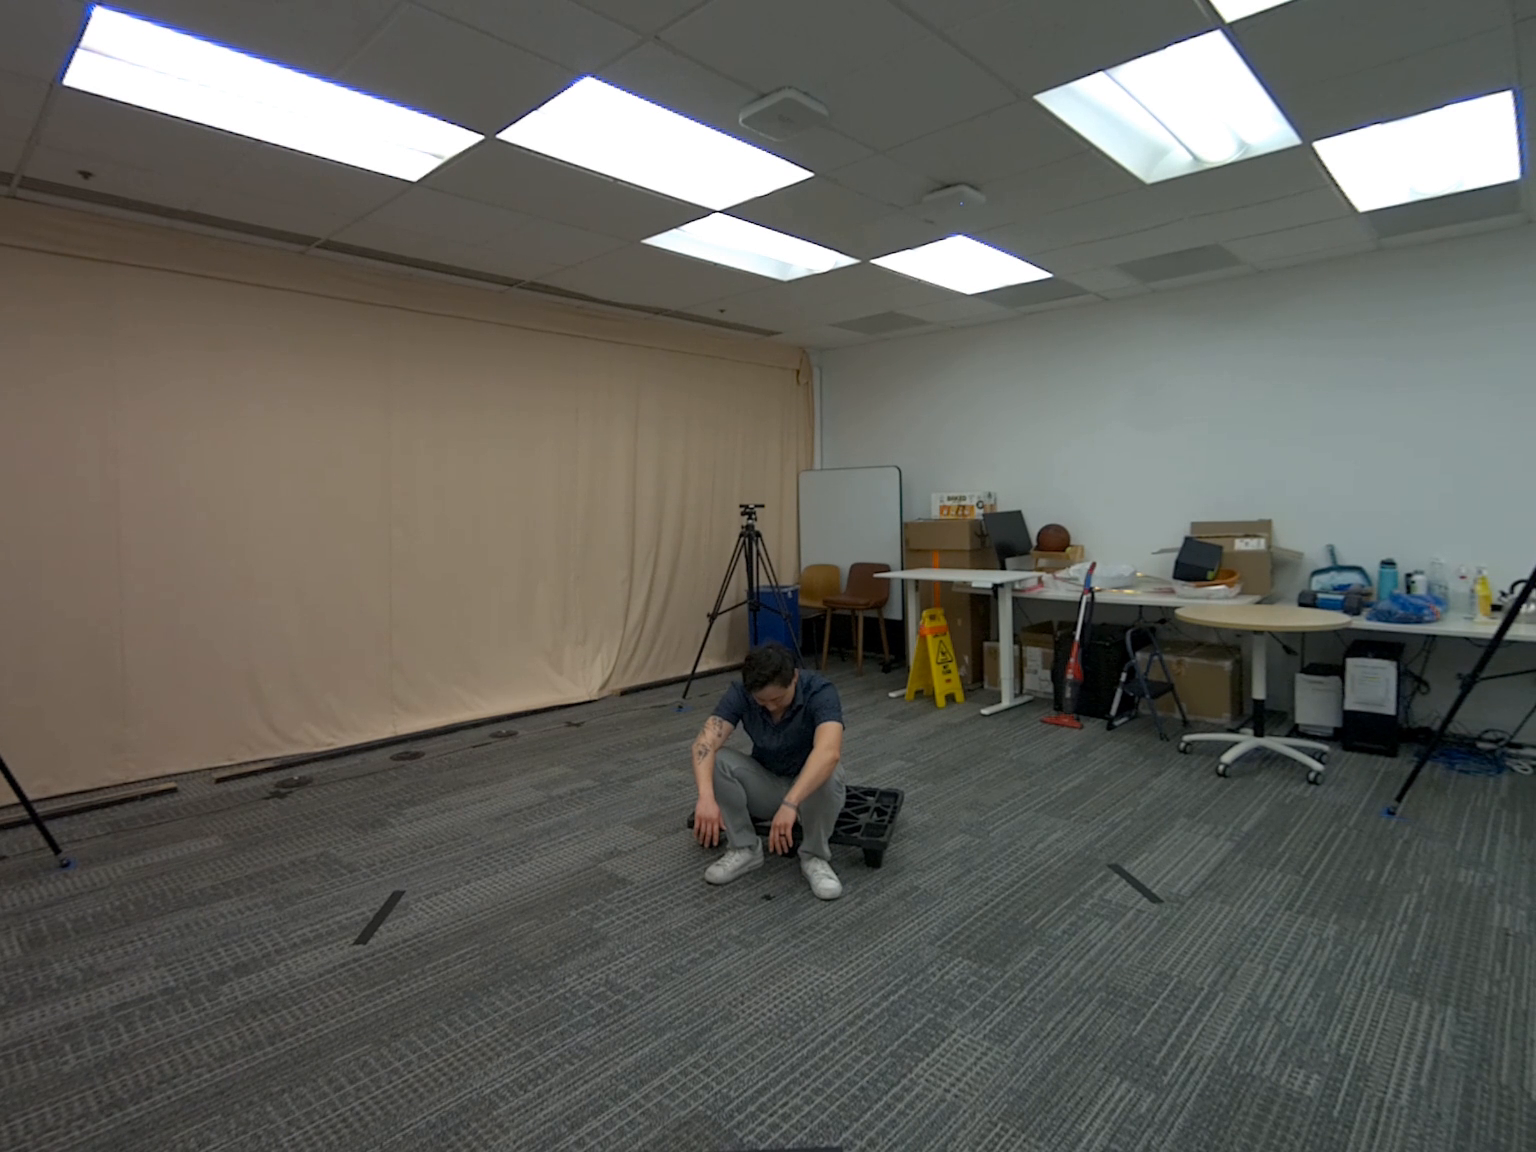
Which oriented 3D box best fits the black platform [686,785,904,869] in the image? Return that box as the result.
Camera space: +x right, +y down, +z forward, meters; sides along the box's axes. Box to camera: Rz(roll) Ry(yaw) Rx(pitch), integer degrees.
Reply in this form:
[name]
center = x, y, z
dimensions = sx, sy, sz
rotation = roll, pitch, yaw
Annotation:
[black platform]
center = 0.142, 1.023, 3.531
dimensions = 0.821, 0.143, 0.595
rotation = 1, 6, 17
